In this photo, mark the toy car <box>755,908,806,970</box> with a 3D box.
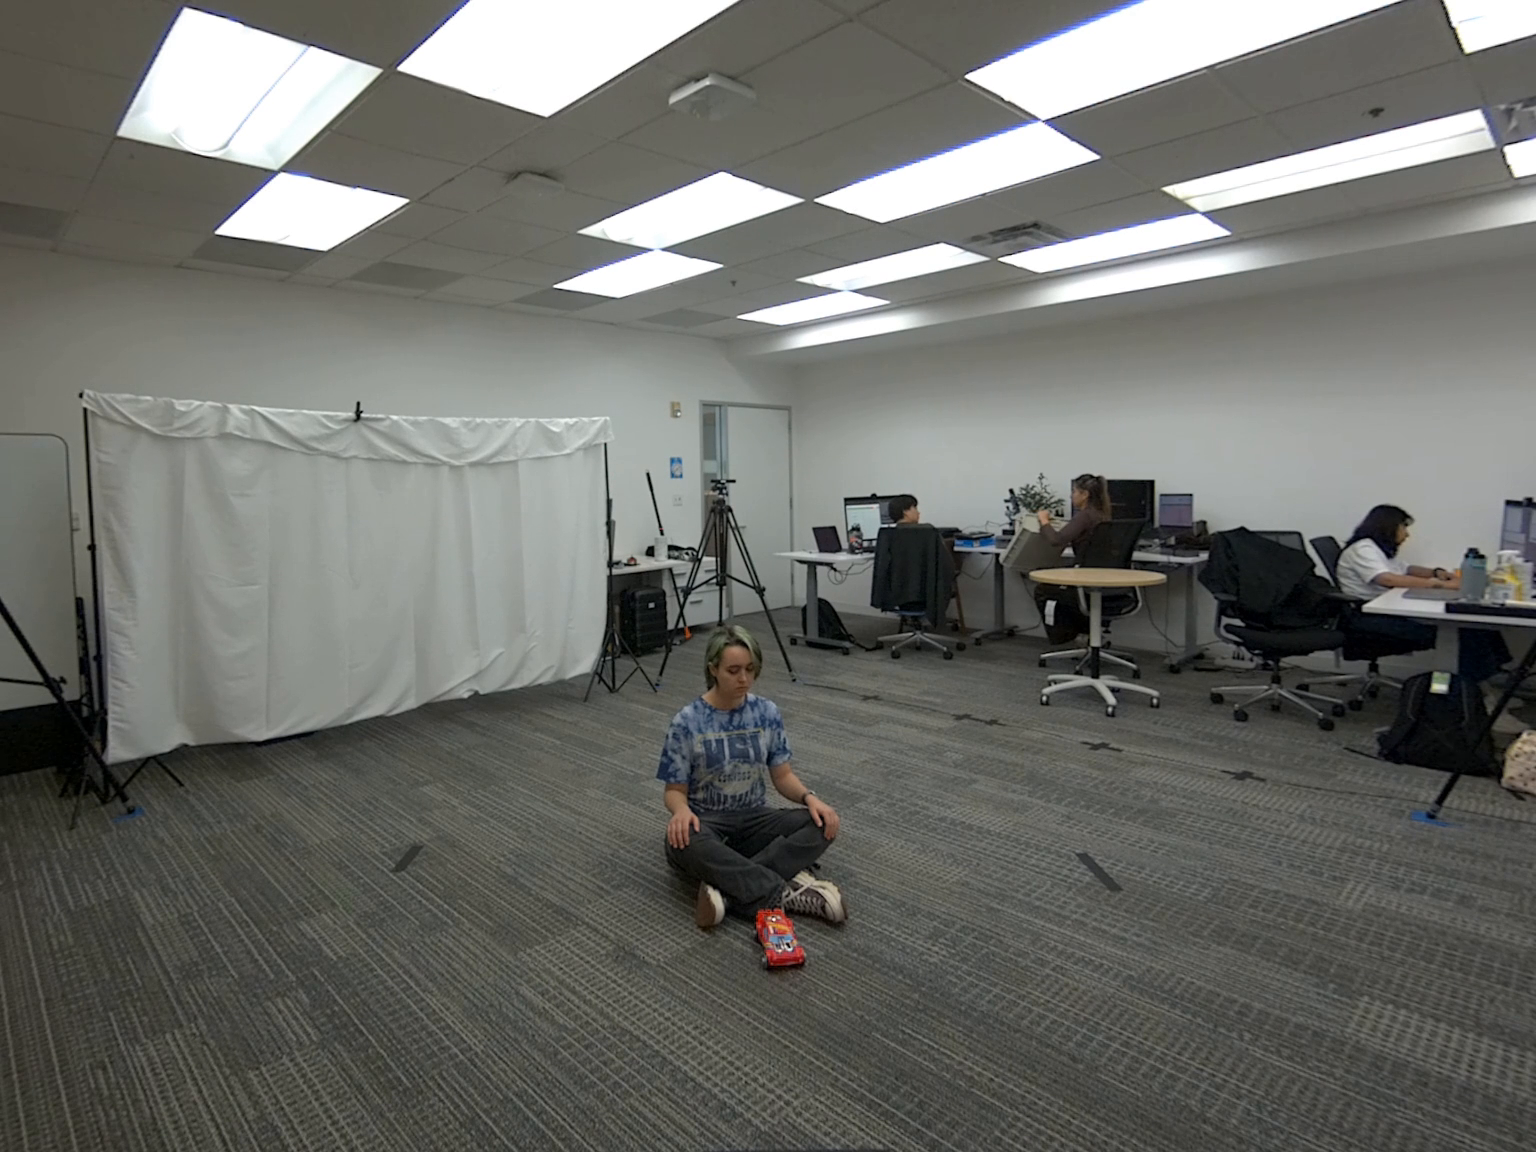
[{"bbox_3d":[0.026,1.082,2.541,0.129,0.082,0.260,-4,18,-10],"label":"toy car"}]
